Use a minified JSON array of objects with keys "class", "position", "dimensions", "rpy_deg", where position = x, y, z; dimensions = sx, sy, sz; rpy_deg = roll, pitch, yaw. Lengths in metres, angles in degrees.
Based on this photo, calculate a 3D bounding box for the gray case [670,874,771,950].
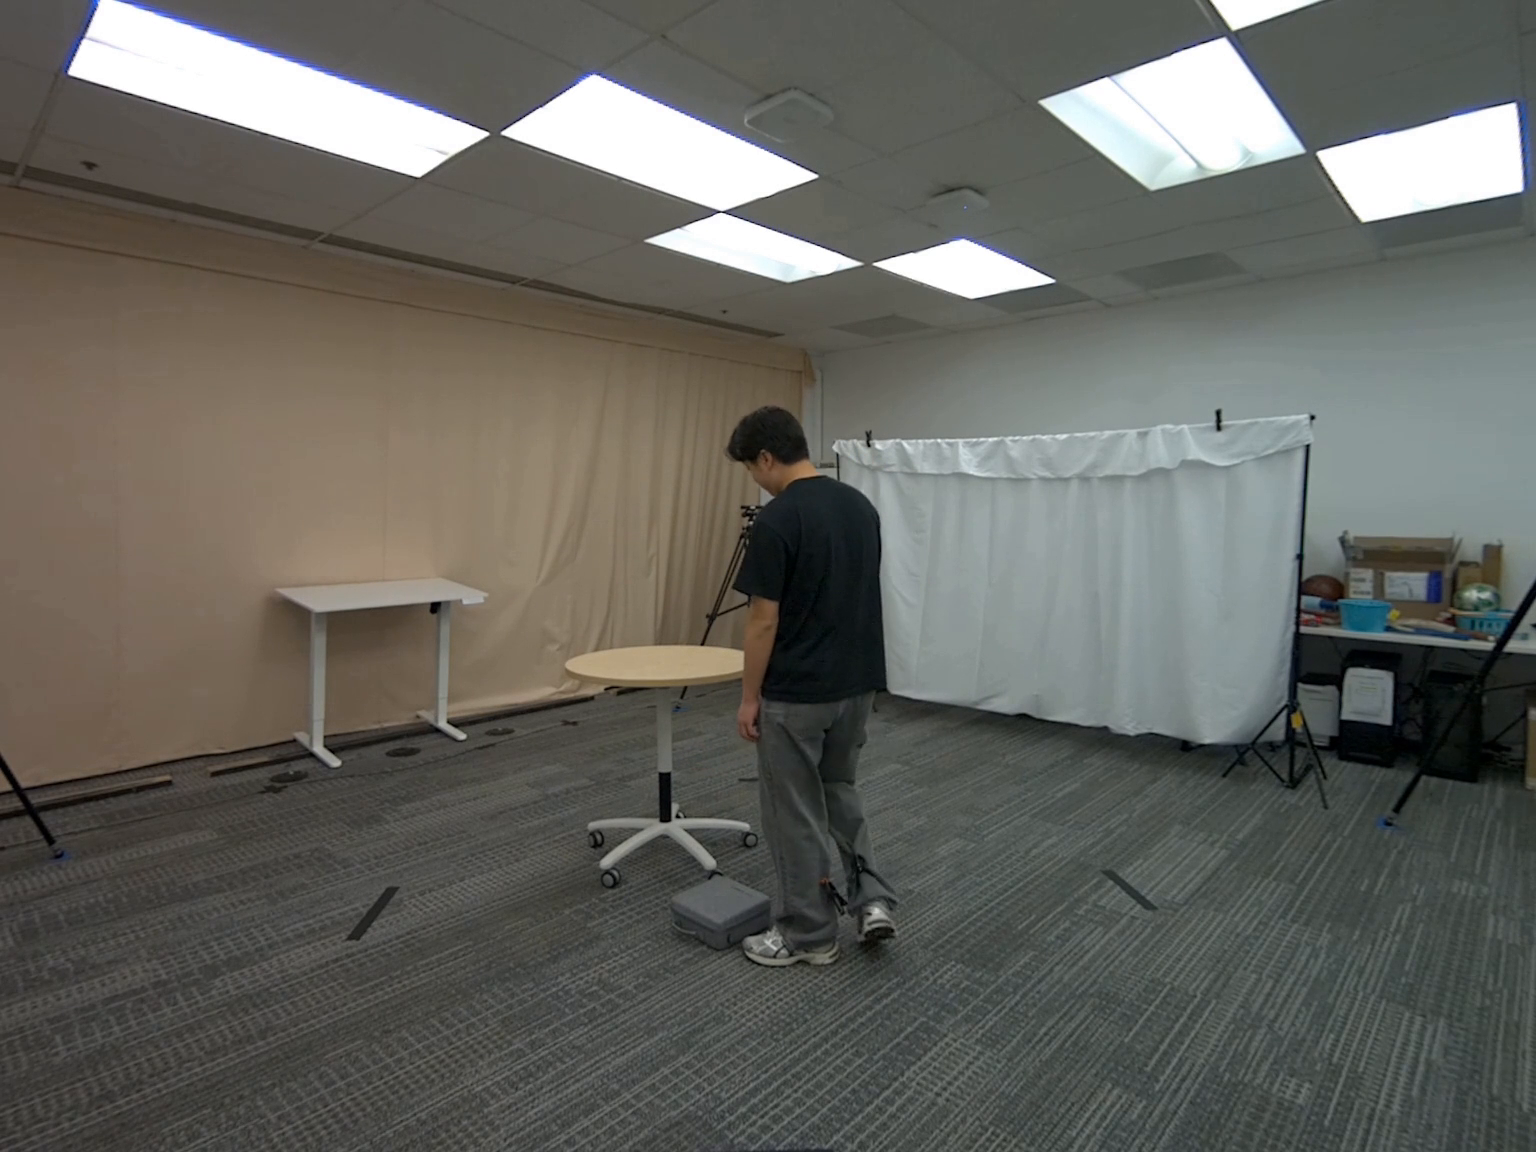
[{"class":"gray case","position":[-0.160,1.108,2.776],"dimensions":[0.278,0.103,0.272],"rpy_deg":[-6,7,-44]}]
